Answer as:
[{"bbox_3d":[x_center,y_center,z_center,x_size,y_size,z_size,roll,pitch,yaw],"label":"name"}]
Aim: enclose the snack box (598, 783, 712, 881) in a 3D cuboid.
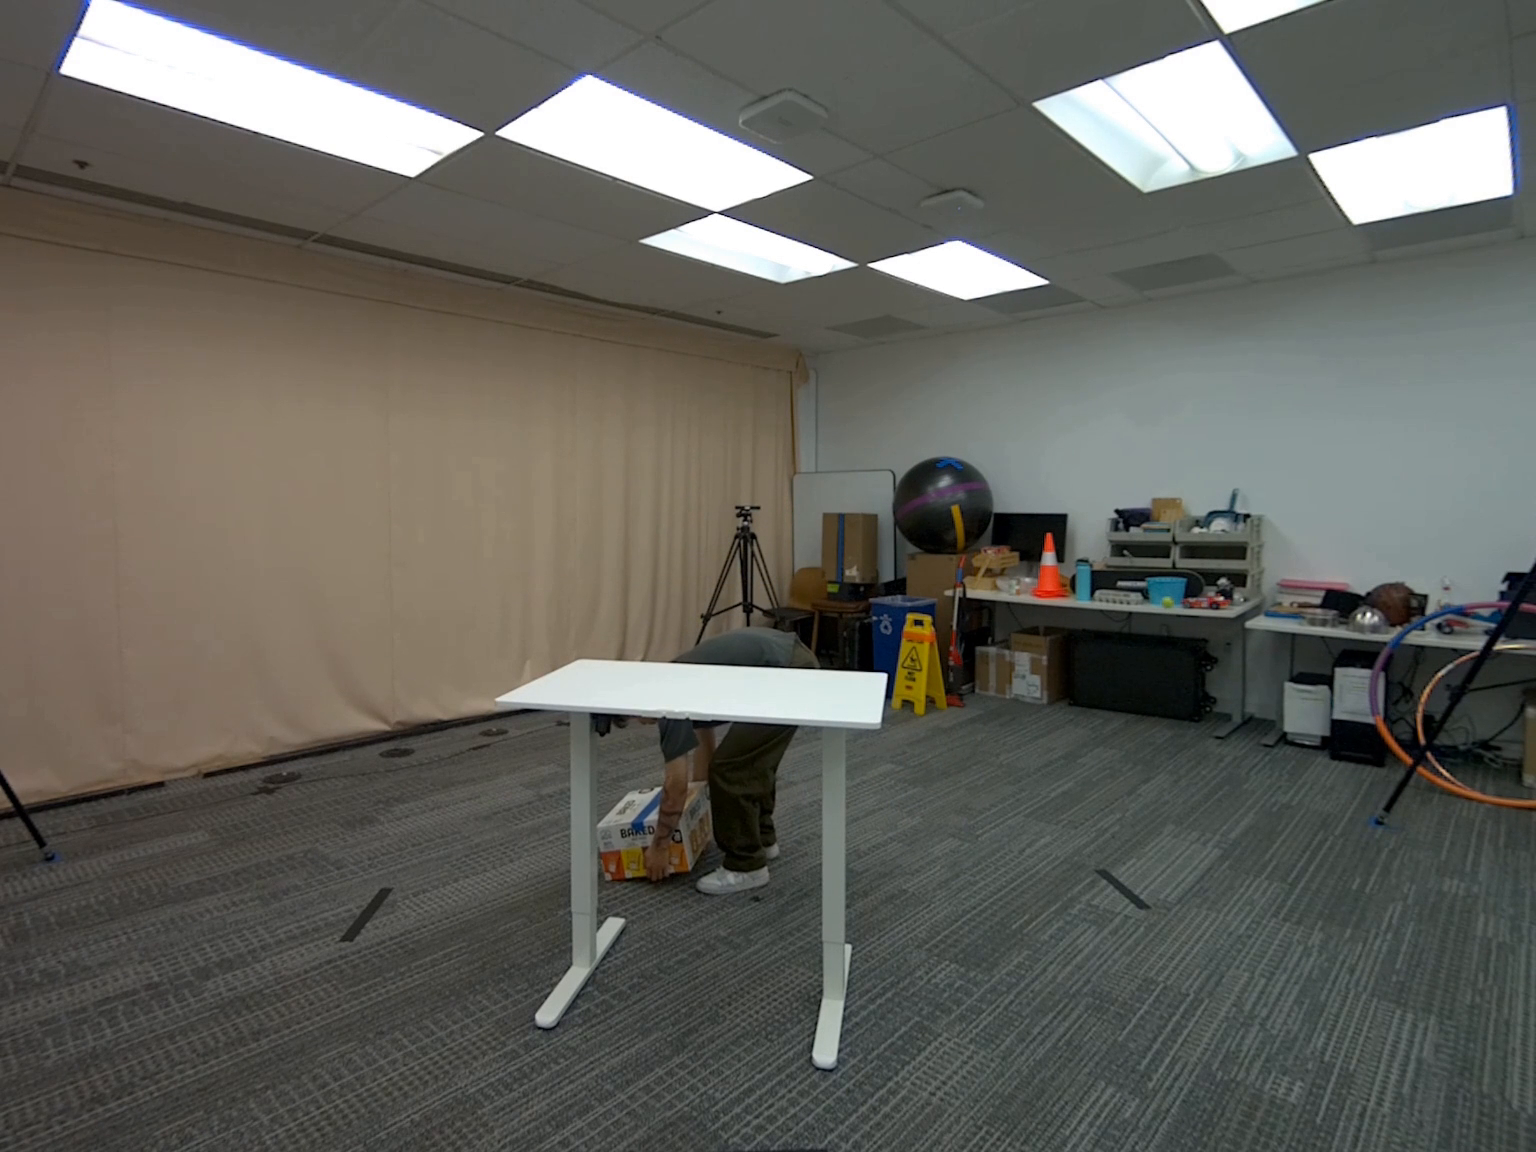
[{"bbox_3d":[-0.430,0.991,3.297,0.345,0.205,0.401,-11,3,13],"label":"snack box"}]
